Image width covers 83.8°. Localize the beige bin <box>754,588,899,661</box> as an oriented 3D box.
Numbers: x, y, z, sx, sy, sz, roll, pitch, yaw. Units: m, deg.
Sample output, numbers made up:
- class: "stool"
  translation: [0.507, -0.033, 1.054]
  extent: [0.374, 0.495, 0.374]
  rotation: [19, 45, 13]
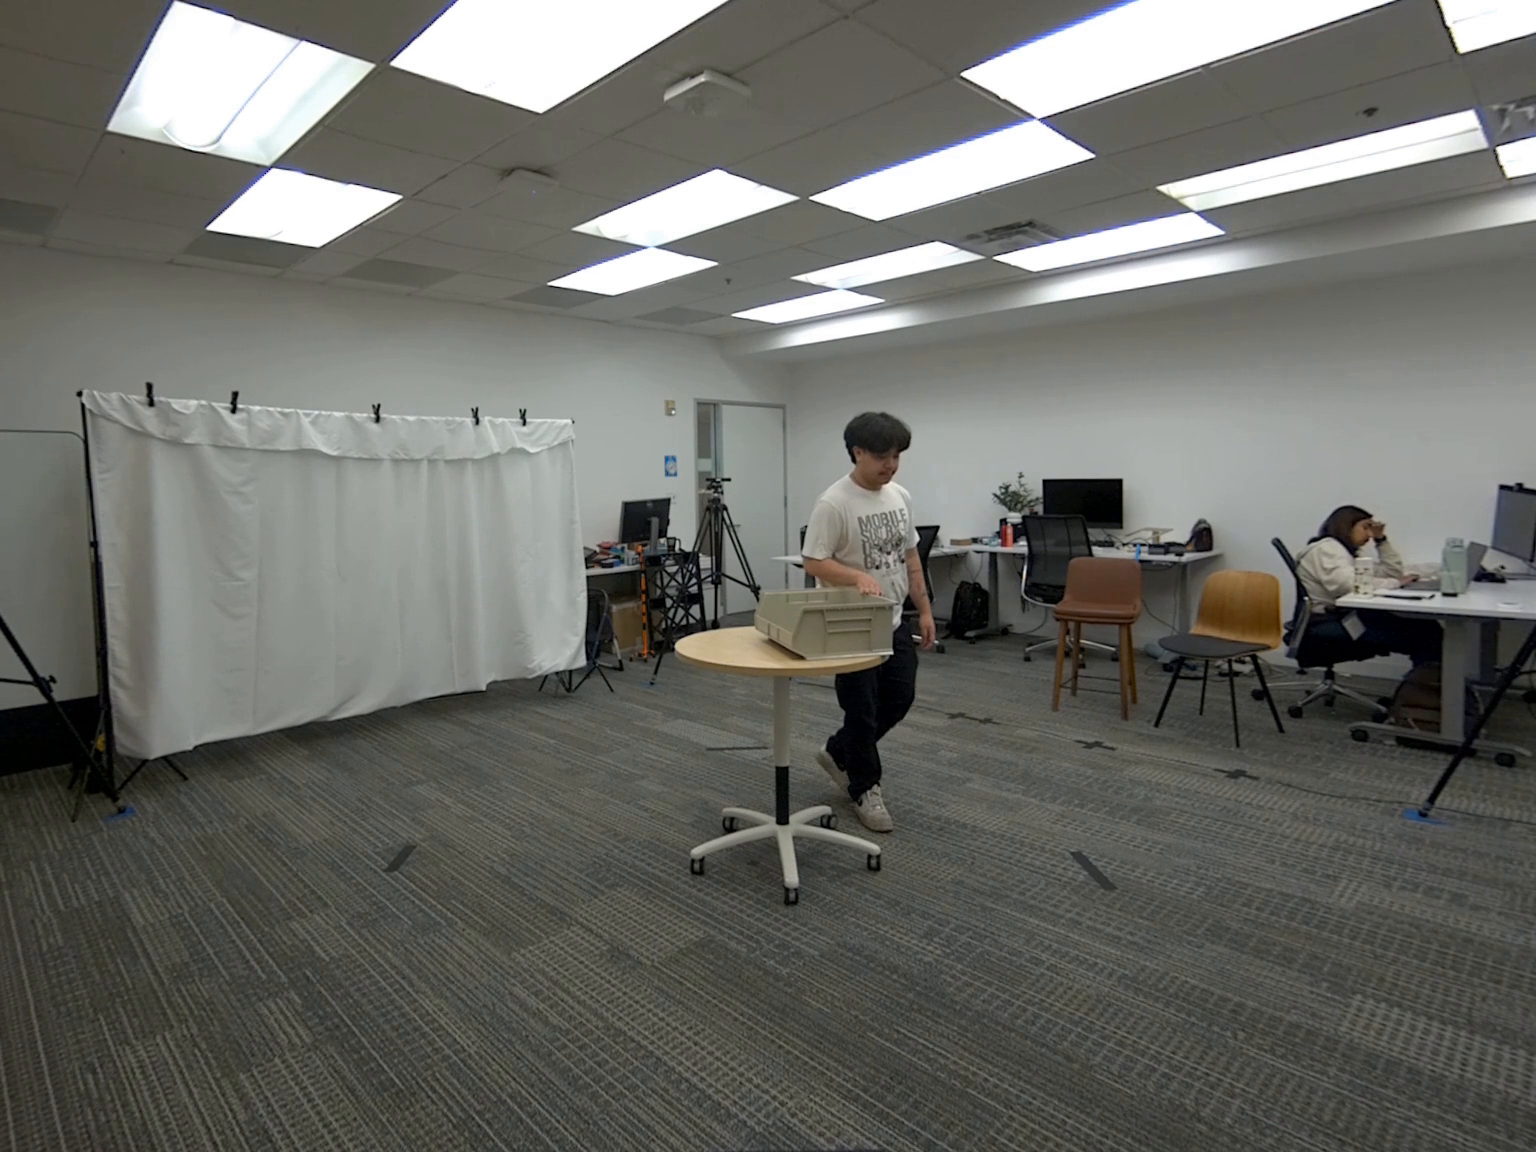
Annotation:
- class: "beige bin"
  translation: [0.196, 0.164, 3.016]
  extent: [0.372, 0.188, 0.430]
  rotation: [-1, 6, -16]
